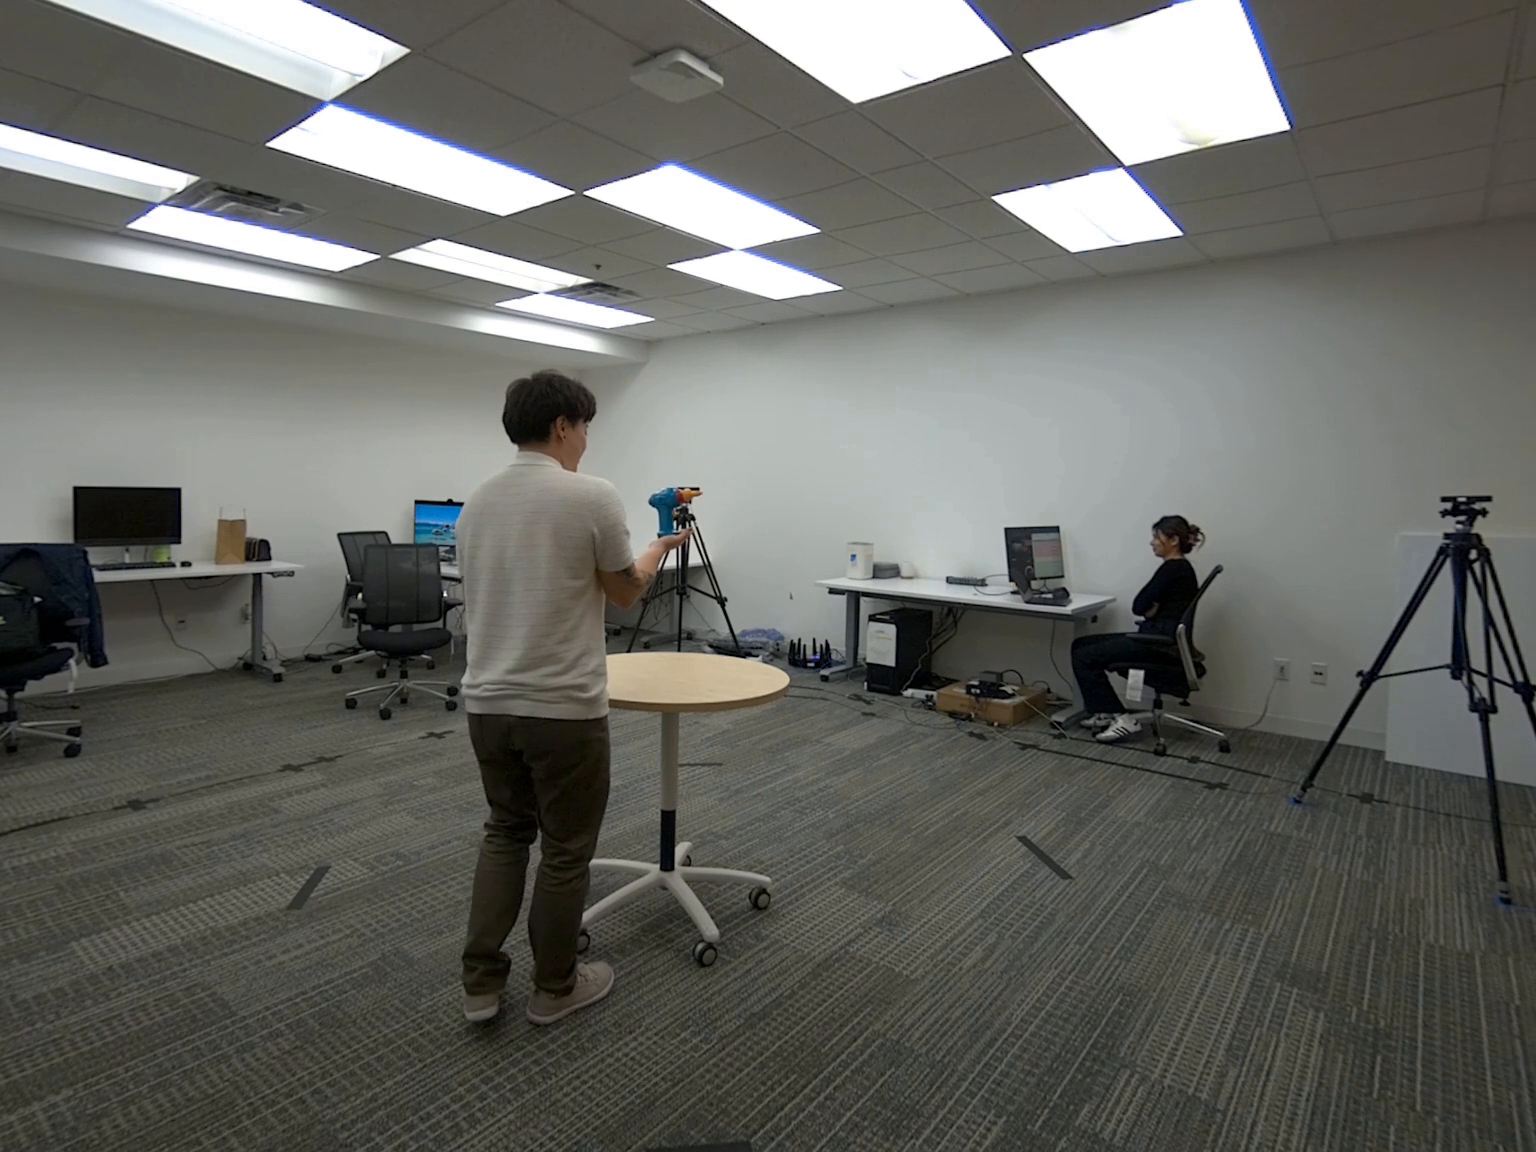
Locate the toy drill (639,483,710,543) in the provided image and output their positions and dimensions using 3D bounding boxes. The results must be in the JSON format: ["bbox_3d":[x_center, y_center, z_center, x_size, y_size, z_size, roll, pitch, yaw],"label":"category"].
[{"bbox_3d":[-0.273,-0.185,2.441,0.172,0.145,0.060,-8,4,14],"label":"toy drill"}]
